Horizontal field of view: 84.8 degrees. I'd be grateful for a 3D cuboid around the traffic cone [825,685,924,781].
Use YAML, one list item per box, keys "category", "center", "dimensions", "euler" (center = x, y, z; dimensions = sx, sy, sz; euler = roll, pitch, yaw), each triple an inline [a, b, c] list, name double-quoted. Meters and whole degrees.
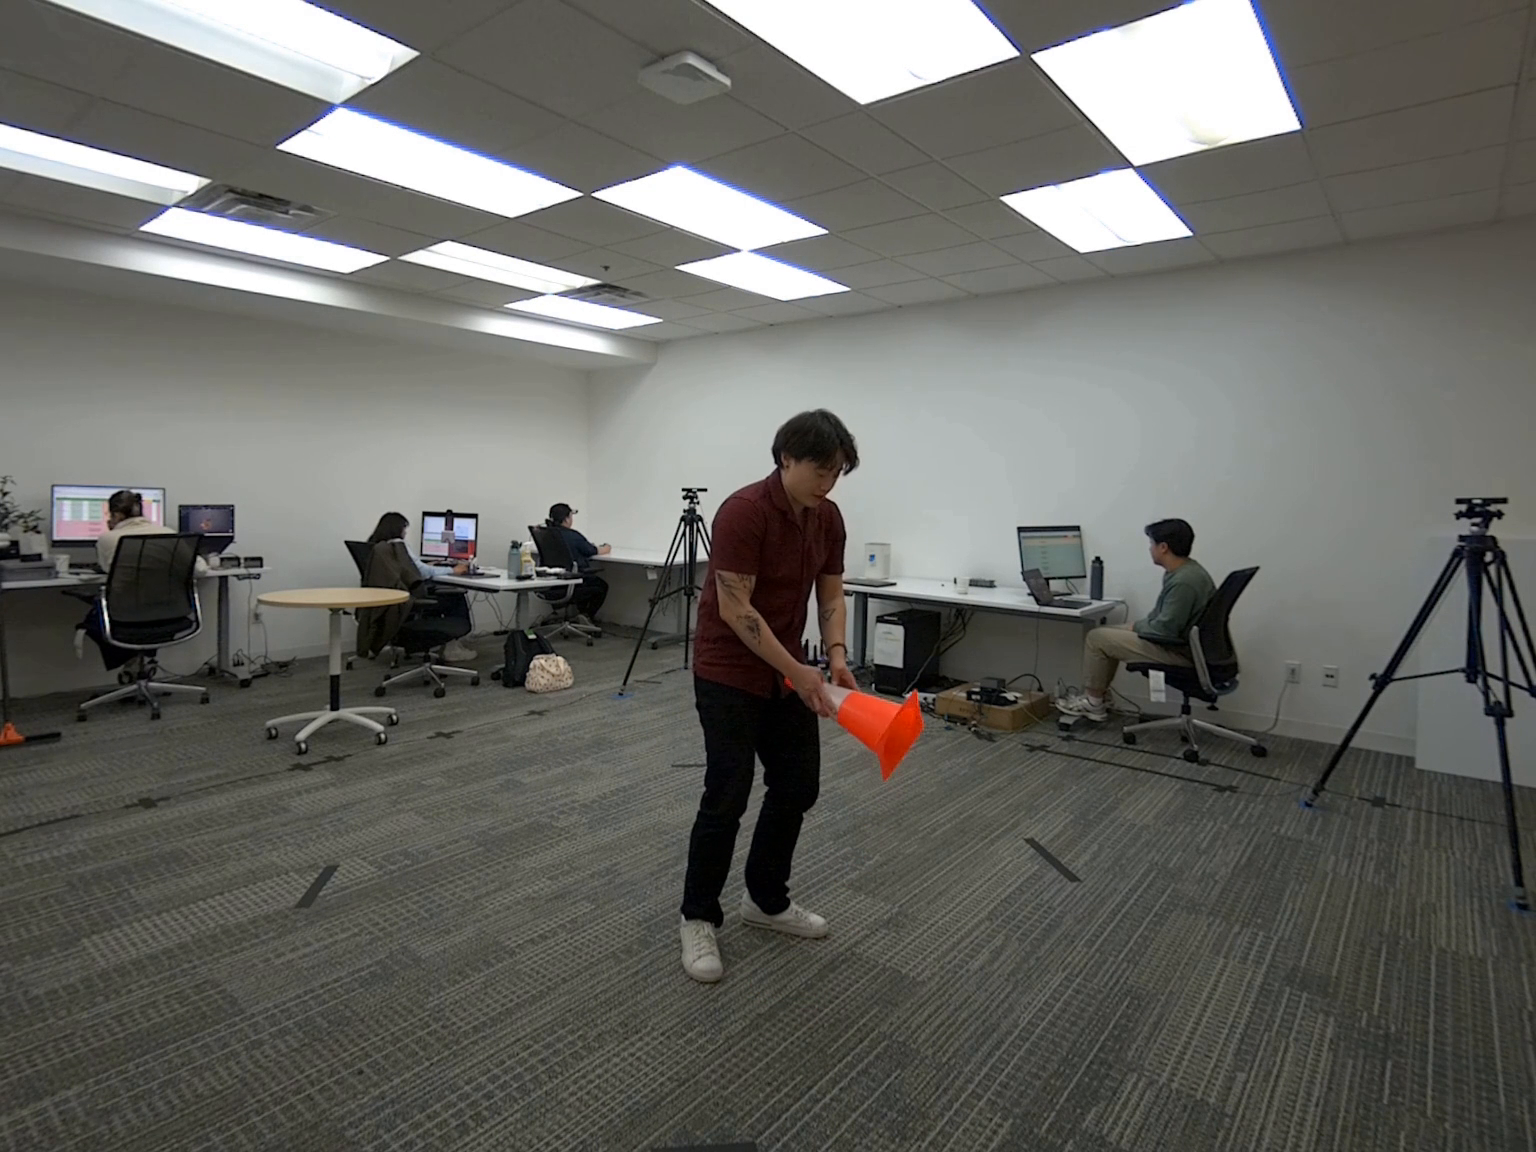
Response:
- category: "traffic cone"
  center: [0.210, 0.361, 2.362]
  dimensions: [0.399, 0.196, 0.204]
  euler: [24, 57, 36]
